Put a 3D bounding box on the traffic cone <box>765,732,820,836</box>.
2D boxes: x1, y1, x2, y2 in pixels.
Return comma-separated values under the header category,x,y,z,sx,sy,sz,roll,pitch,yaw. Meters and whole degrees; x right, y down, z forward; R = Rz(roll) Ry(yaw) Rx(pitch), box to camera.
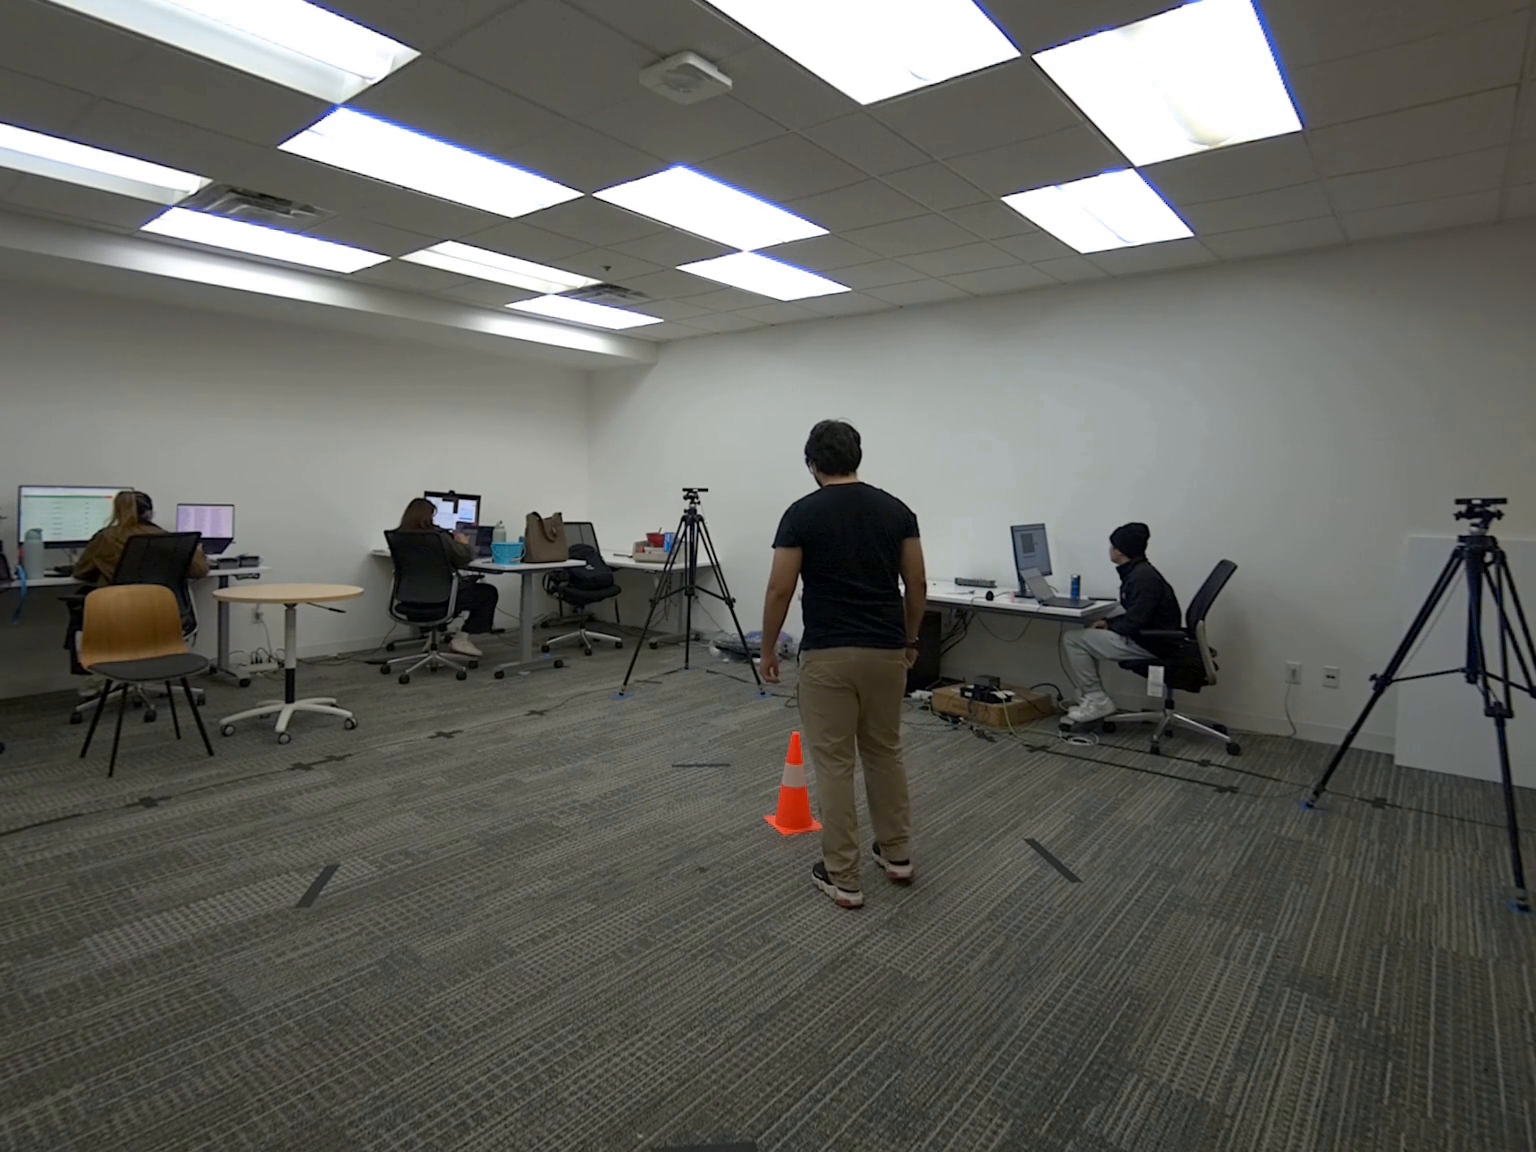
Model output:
category,x,y,z,sx,sy,sz,roll,pitch,yaw
traffic cone,0.093,0.844,3.560,0.201,0.383,0.208,-2,3,-22
